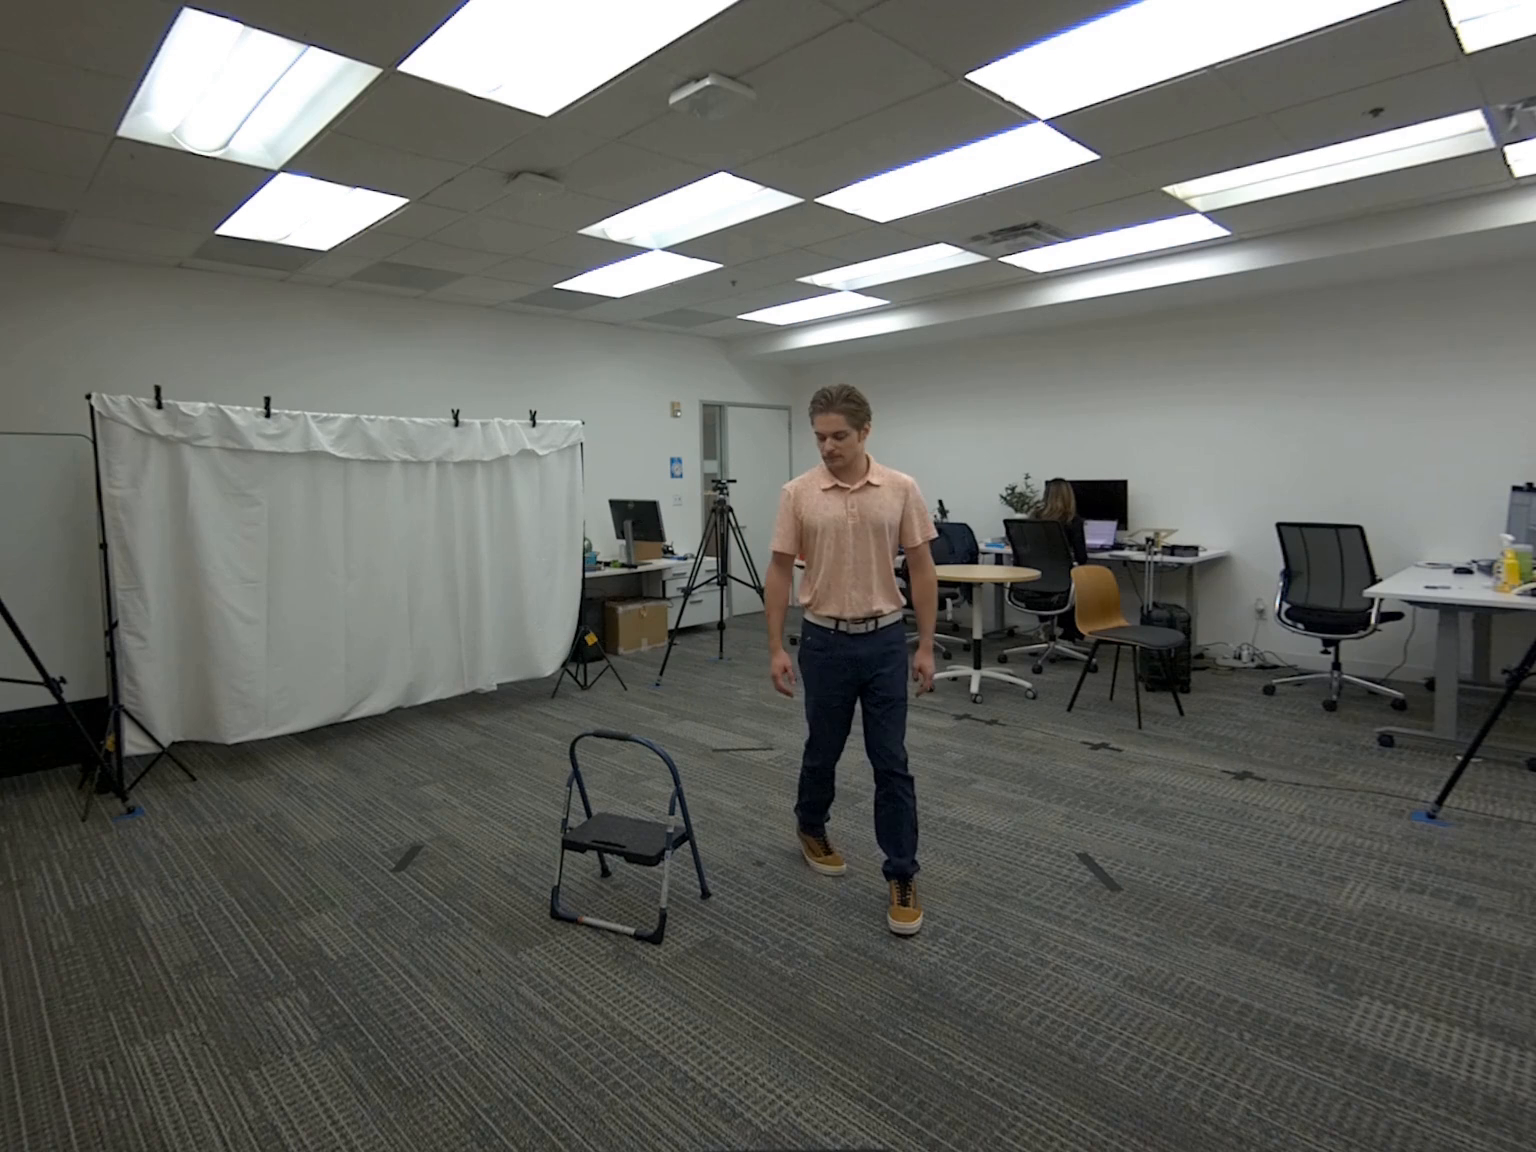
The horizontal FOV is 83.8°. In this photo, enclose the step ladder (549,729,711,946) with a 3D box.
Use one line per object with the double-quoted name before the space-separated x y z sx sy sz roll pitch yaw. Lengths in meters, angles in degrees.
"step ladder" -0.455 0.790 2.794 0.440 0.604 0.343 0 5 23
